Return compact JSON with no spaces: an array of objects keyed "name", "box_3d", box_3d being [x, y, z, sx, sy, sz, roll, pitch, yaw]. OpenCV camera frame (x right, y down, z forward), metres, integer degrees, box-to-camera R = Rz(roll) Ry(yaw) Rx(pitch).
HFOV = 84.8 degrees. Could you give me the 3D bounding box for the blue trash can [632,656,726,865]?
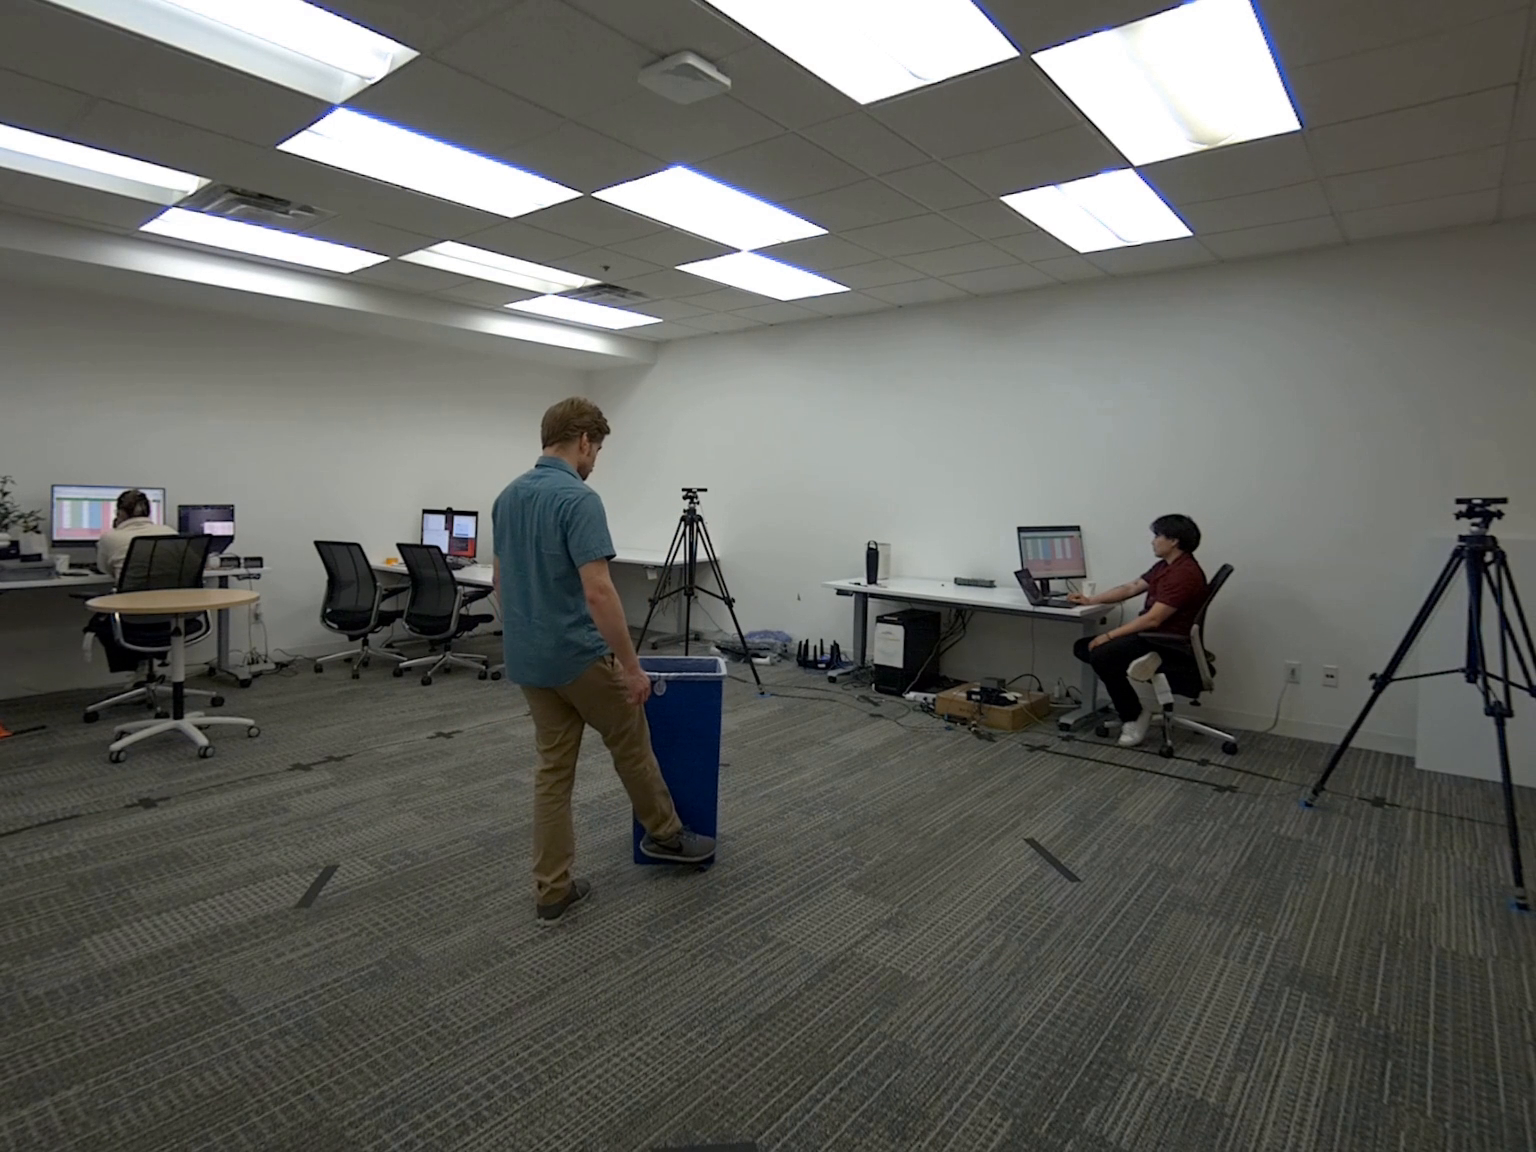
[{"name":"blue trash can","box_3d":[-0.369,0.692,3.286,0.377,0.712,0.376,1,3,-4]}]
